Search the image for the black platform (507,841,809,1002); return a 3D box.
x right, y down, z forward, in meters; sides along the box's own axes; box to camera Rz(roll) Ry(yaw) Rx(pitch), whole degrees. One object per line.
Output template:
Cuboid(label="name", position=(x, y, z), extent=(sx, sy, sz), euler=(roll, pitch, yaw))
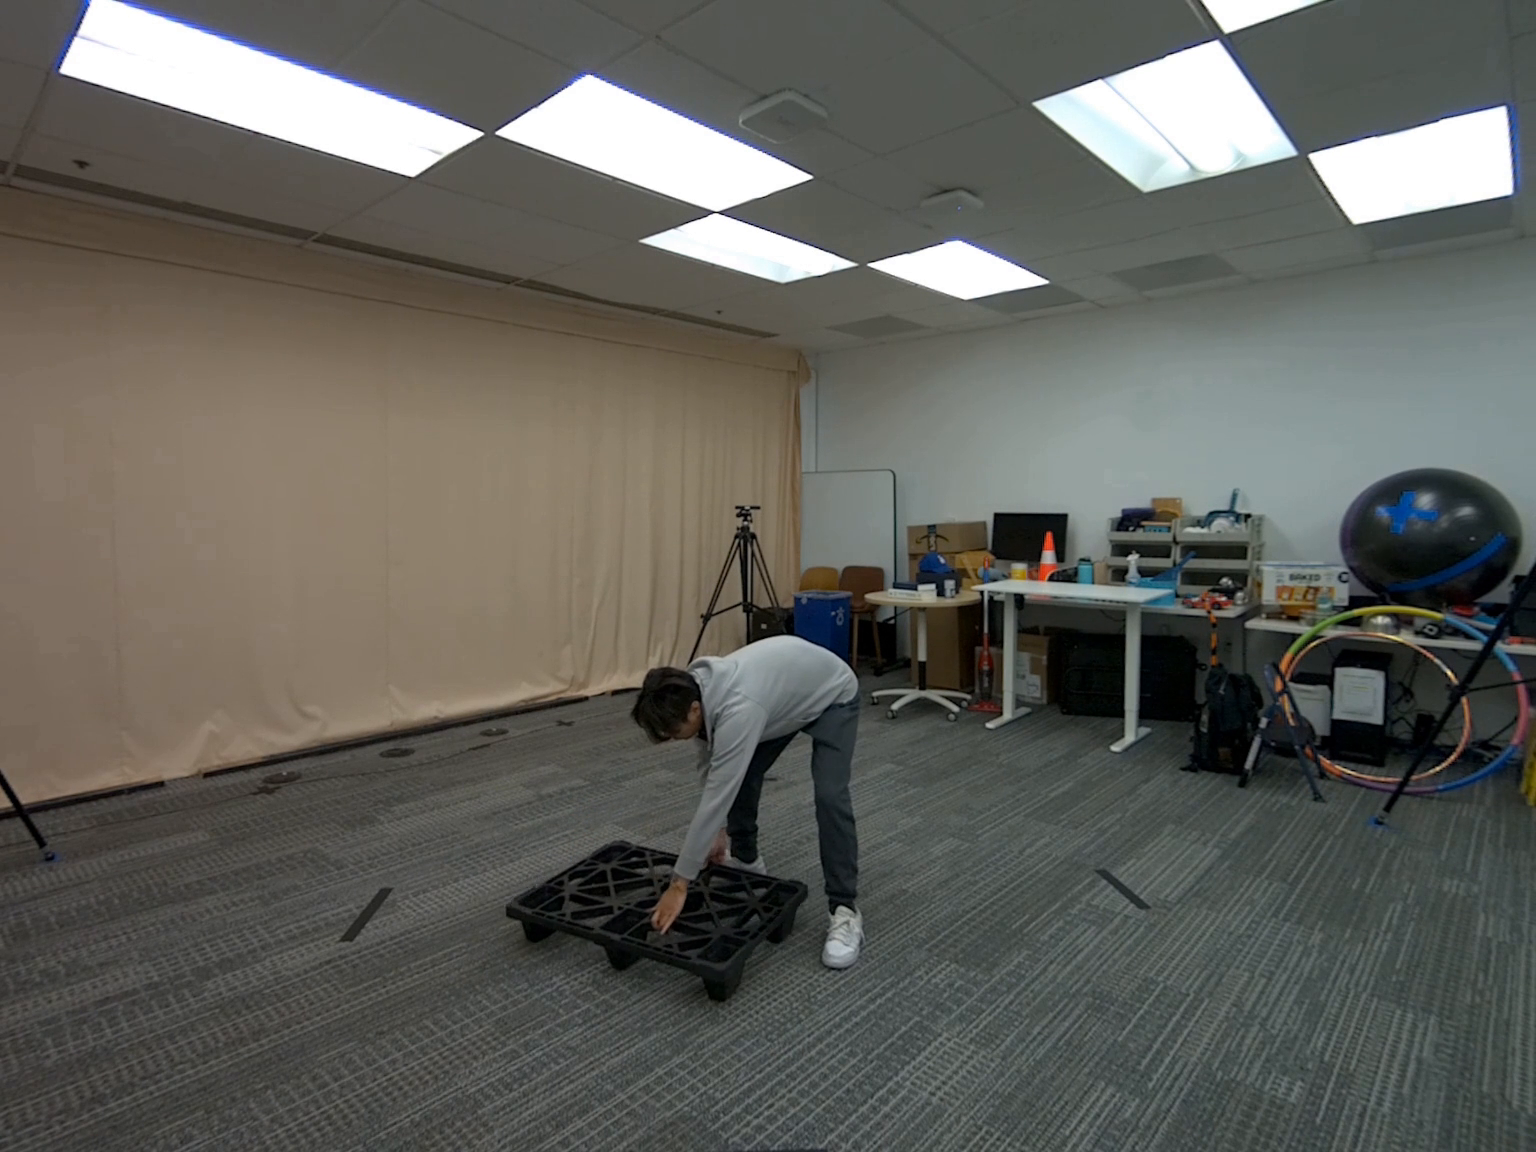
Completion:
Cuboid(label="black platform", position=(-0.349, 1.100, 2.728), extent=(0.828, 0.143, 0.590), euler=(2, 6, 28))
